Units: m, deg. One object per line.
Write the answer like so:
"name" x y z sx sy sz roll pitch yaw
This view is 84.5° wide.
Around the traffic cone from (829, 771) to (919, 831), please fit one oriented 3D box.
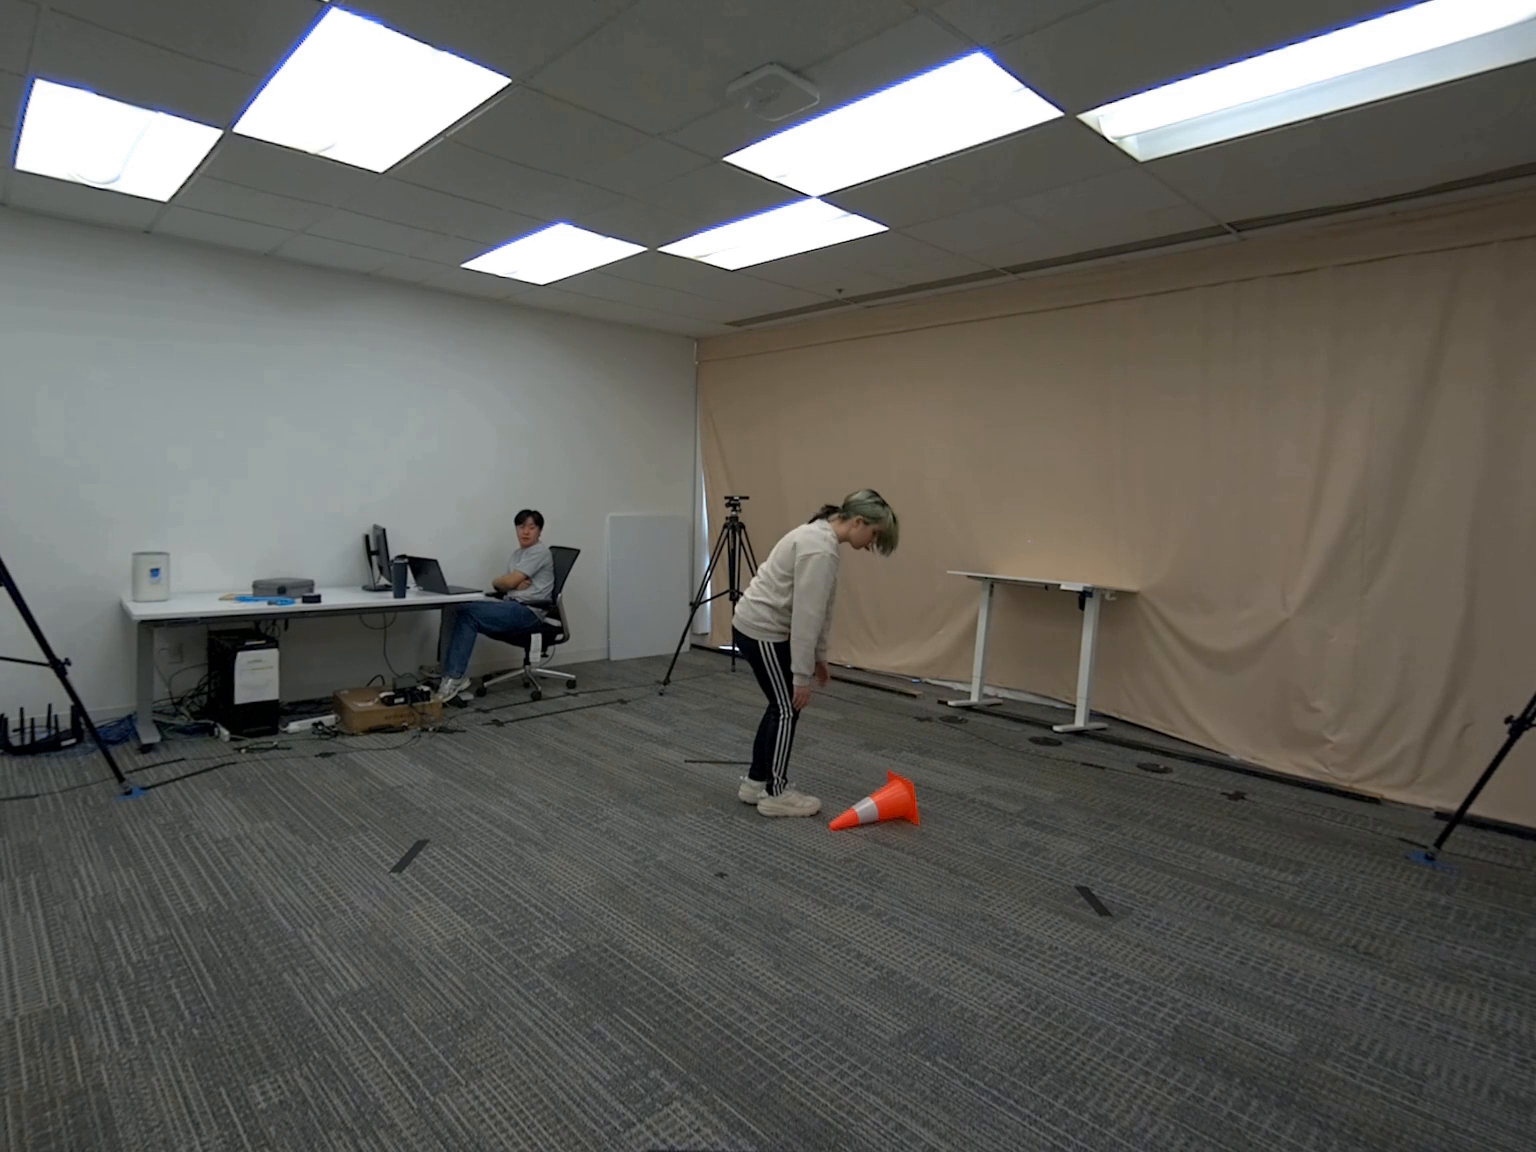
"traffic cone" 0.423 1.016 3.637 0.378 0.203 0.208 -15 11 -26
